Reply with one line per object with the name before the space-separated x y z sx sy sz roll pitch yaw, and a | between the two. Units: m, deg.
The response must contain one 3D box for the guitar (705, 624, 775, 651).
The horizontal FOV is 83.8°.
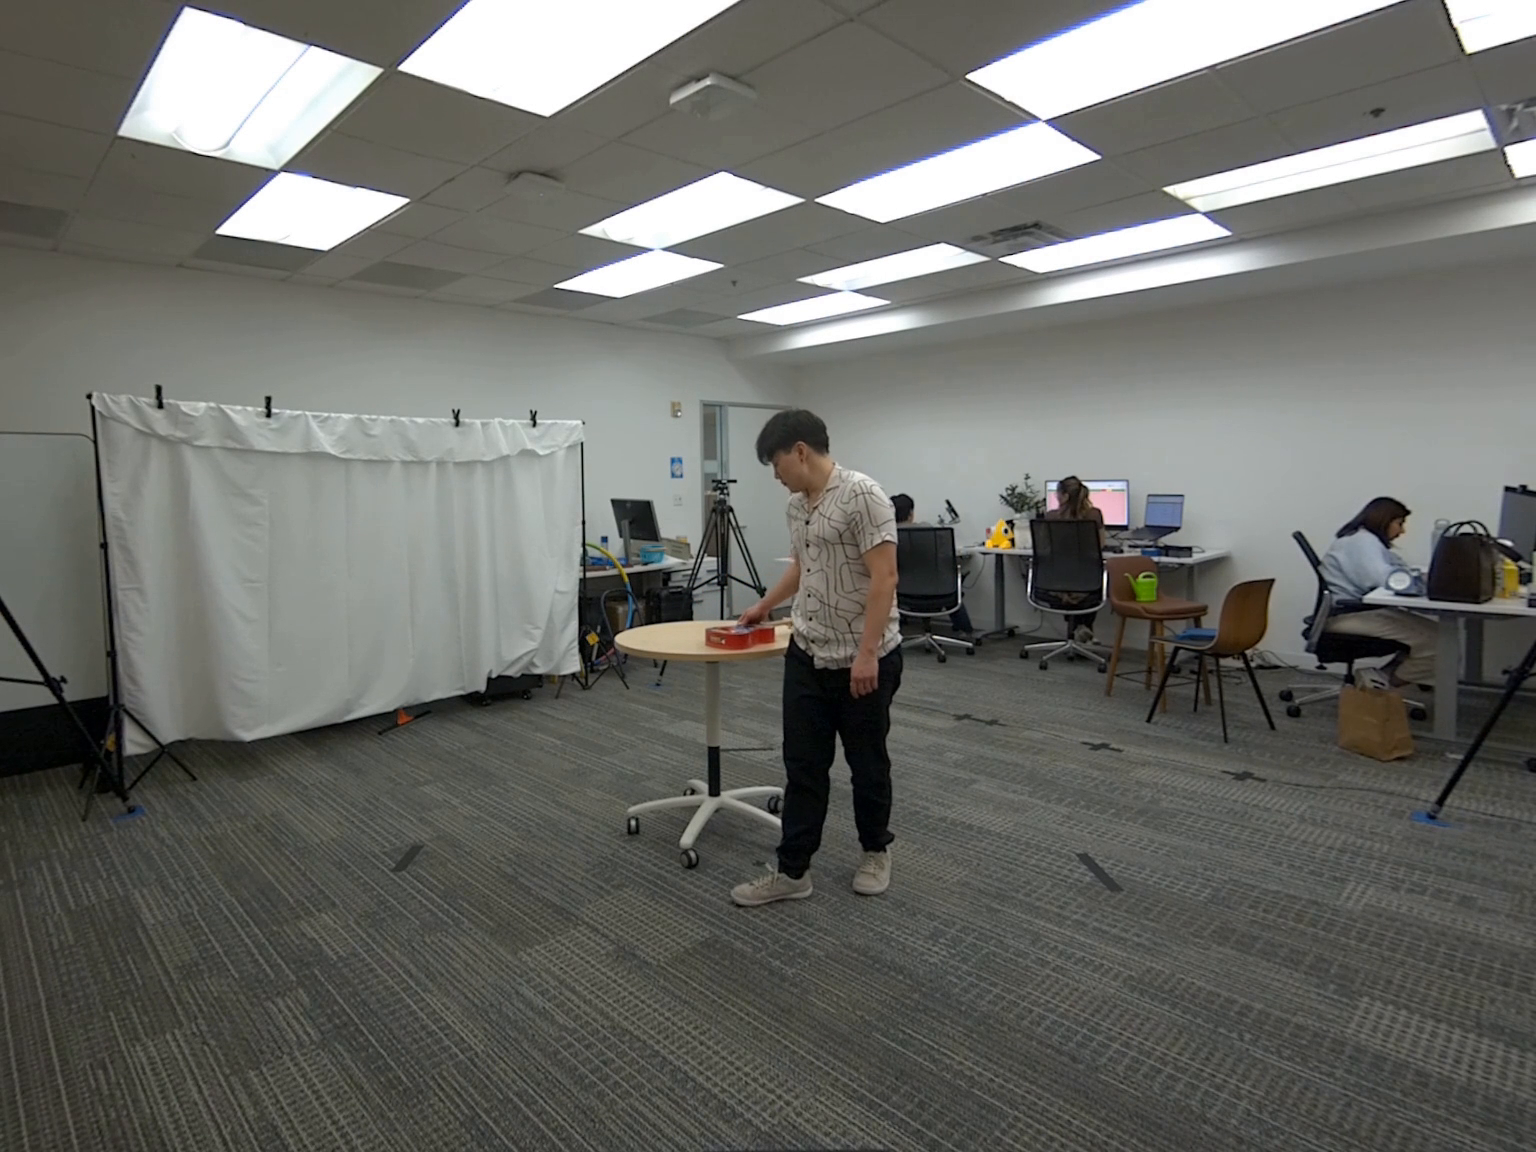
guitar | -0.003 0.212 3.251 0.486 0.070 0.198 -5 7 -32
